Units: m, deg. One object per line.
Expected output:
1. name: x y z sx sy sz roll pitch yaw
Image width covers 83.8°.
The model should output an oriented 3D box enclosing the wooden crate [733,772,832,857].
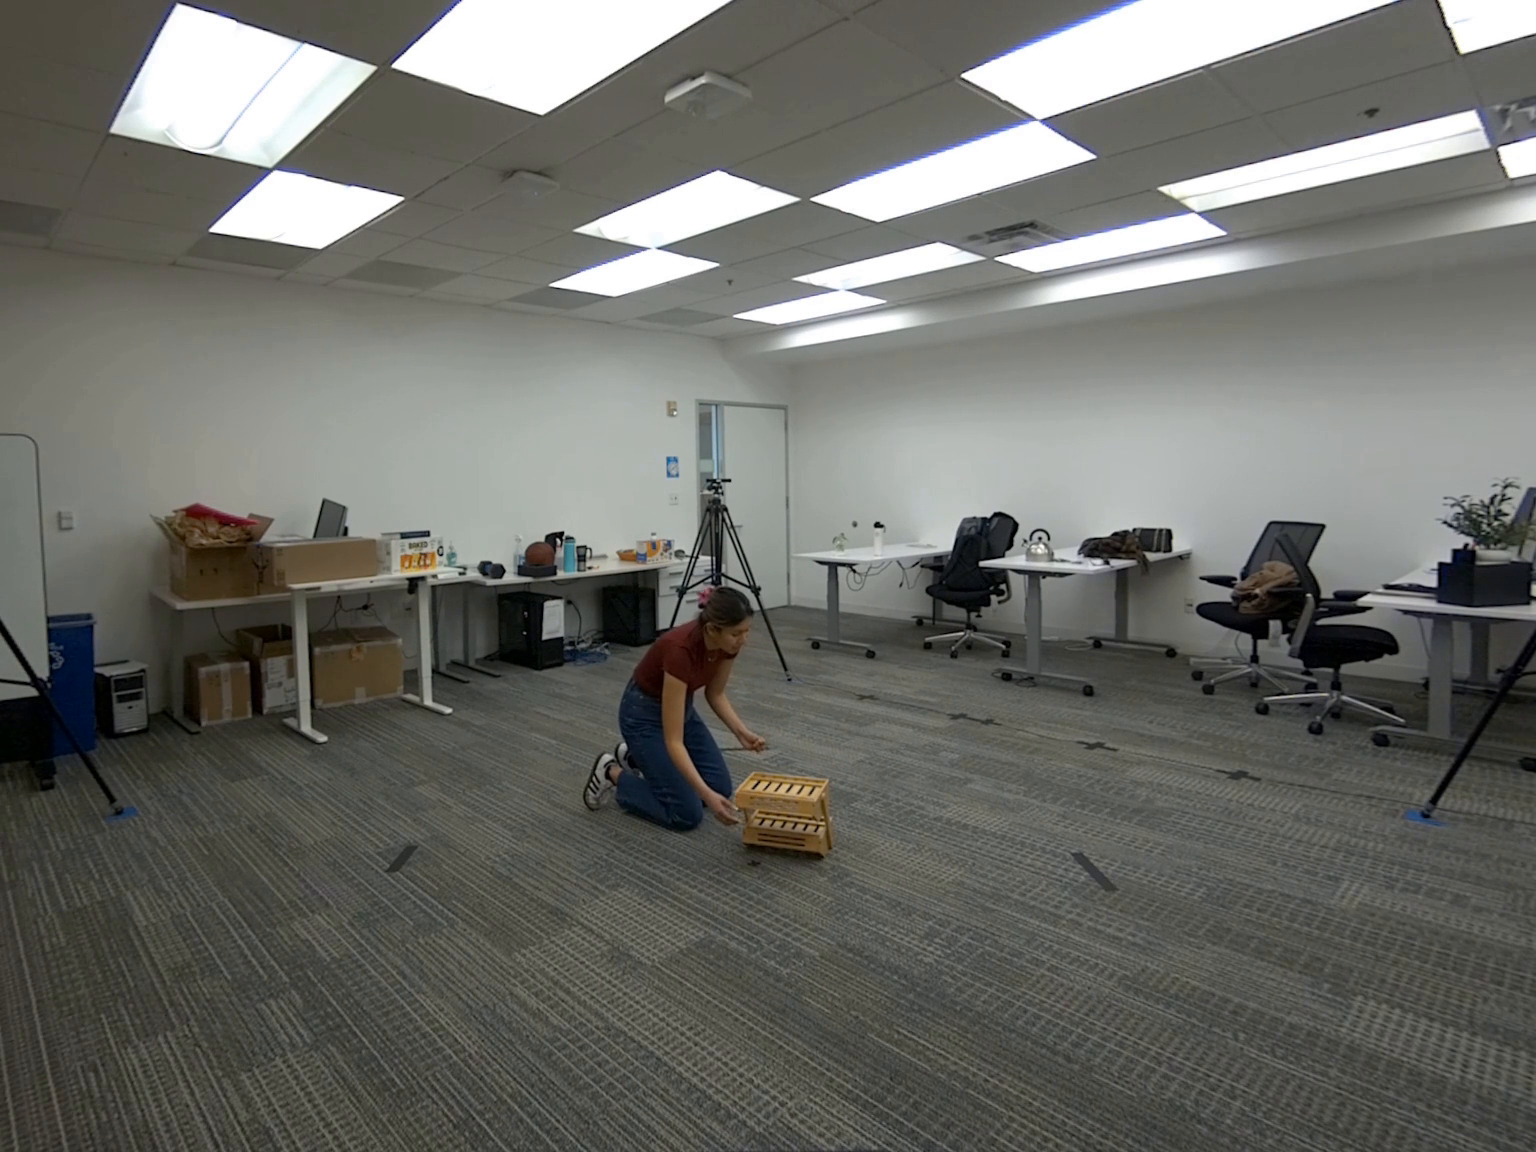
1. wooden crate: 0.063 0.907 3.185 0.330 0.272 0.298 1 5 18
